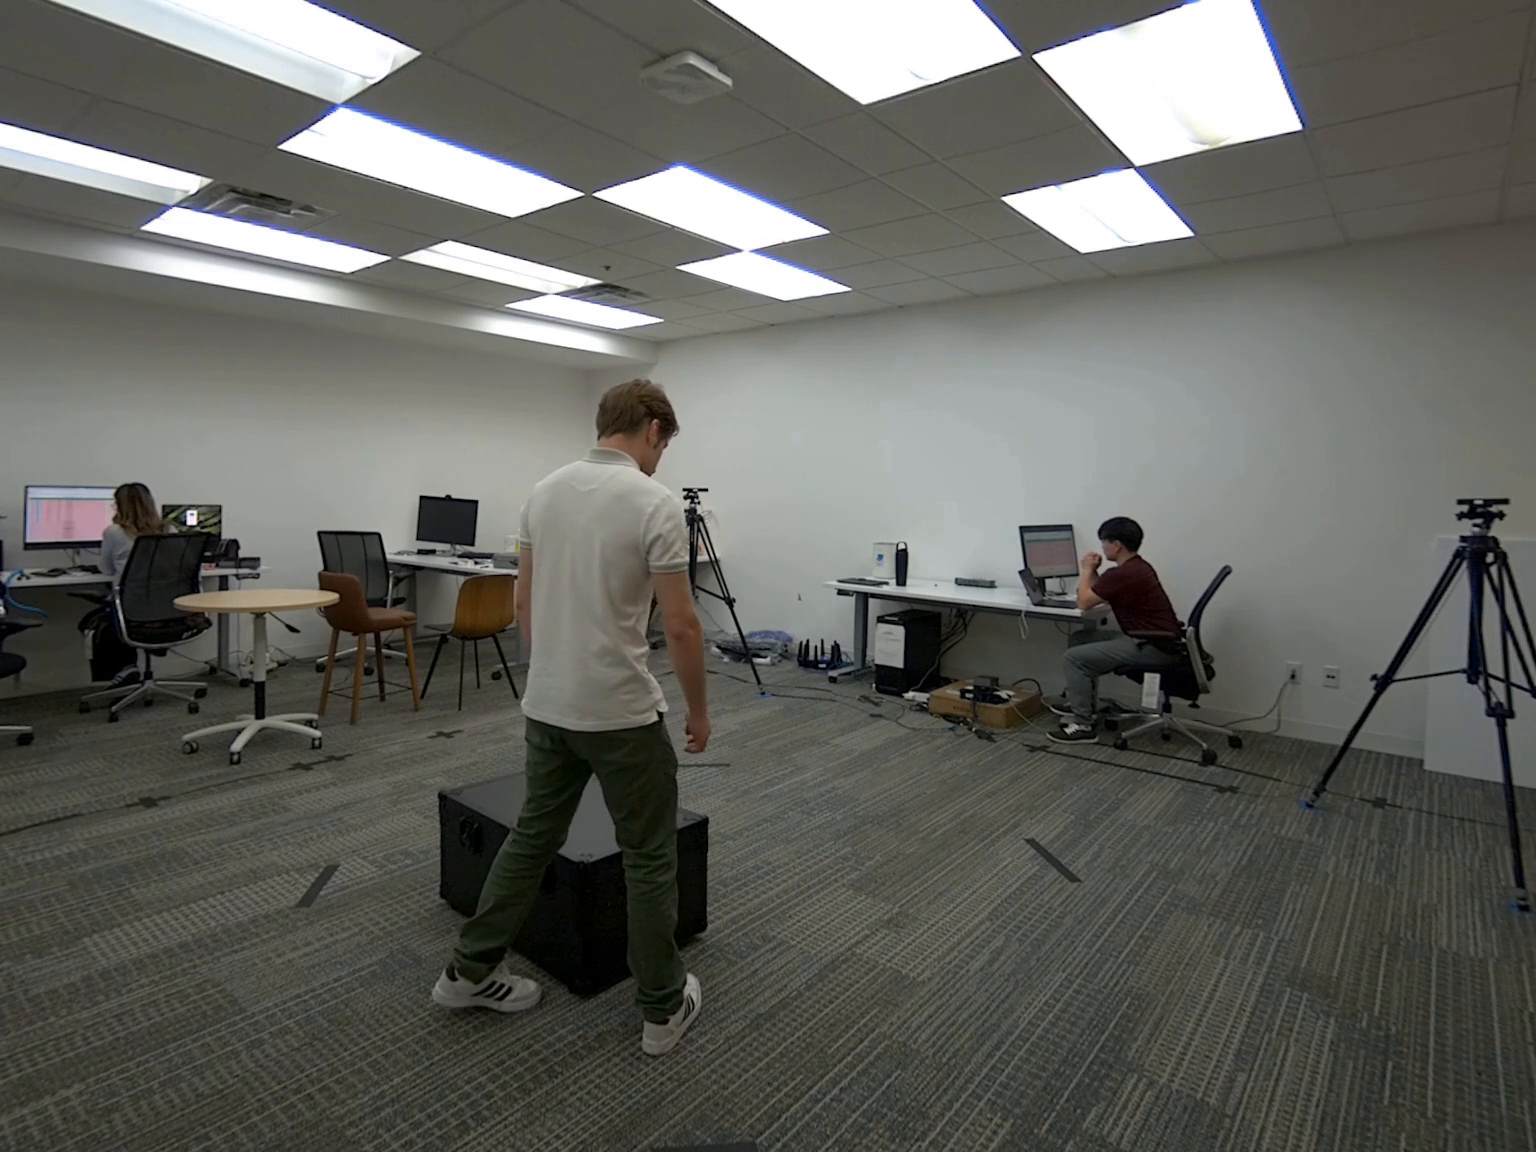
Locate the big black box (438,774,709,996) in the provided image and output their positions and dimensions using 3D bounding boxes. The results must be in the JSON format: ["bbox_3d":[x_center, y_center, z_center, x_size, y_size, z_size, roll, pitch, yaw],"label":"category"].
[{"bbox_3d":[-0.670,0.908,2.740,0.891,0.395,0.506,6,7,41],"label":"big black box"}]
